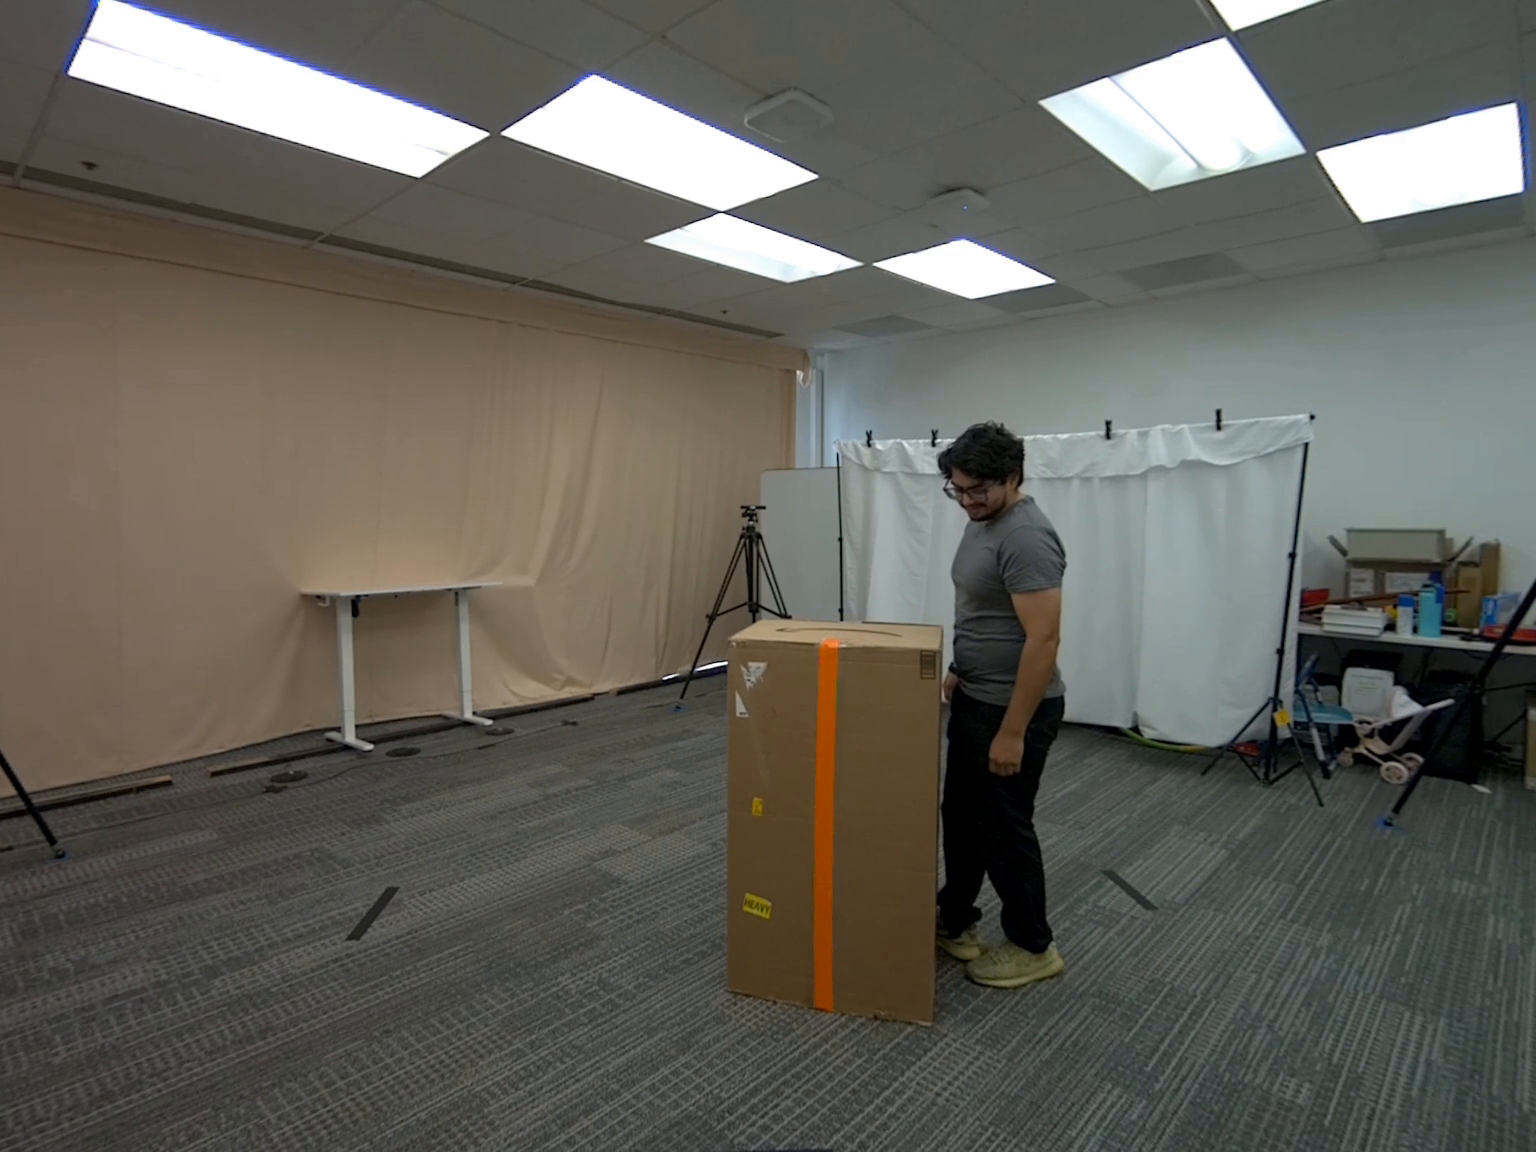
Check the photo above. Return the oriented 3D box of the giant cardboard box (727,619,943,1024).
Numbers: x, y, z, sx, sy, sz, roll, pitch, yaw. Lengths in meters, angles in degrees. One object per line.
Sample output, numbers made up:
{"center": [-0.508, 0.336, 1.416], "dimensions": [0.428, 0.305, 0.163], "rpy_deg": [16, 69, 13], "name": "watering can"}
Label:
{"center": [0.214, 0.678, 2.500], "dimensions": [0.594, 1.025, 0.440], "rpy_deg": [1, 3, 15], "name": "giant cardboard box"}
